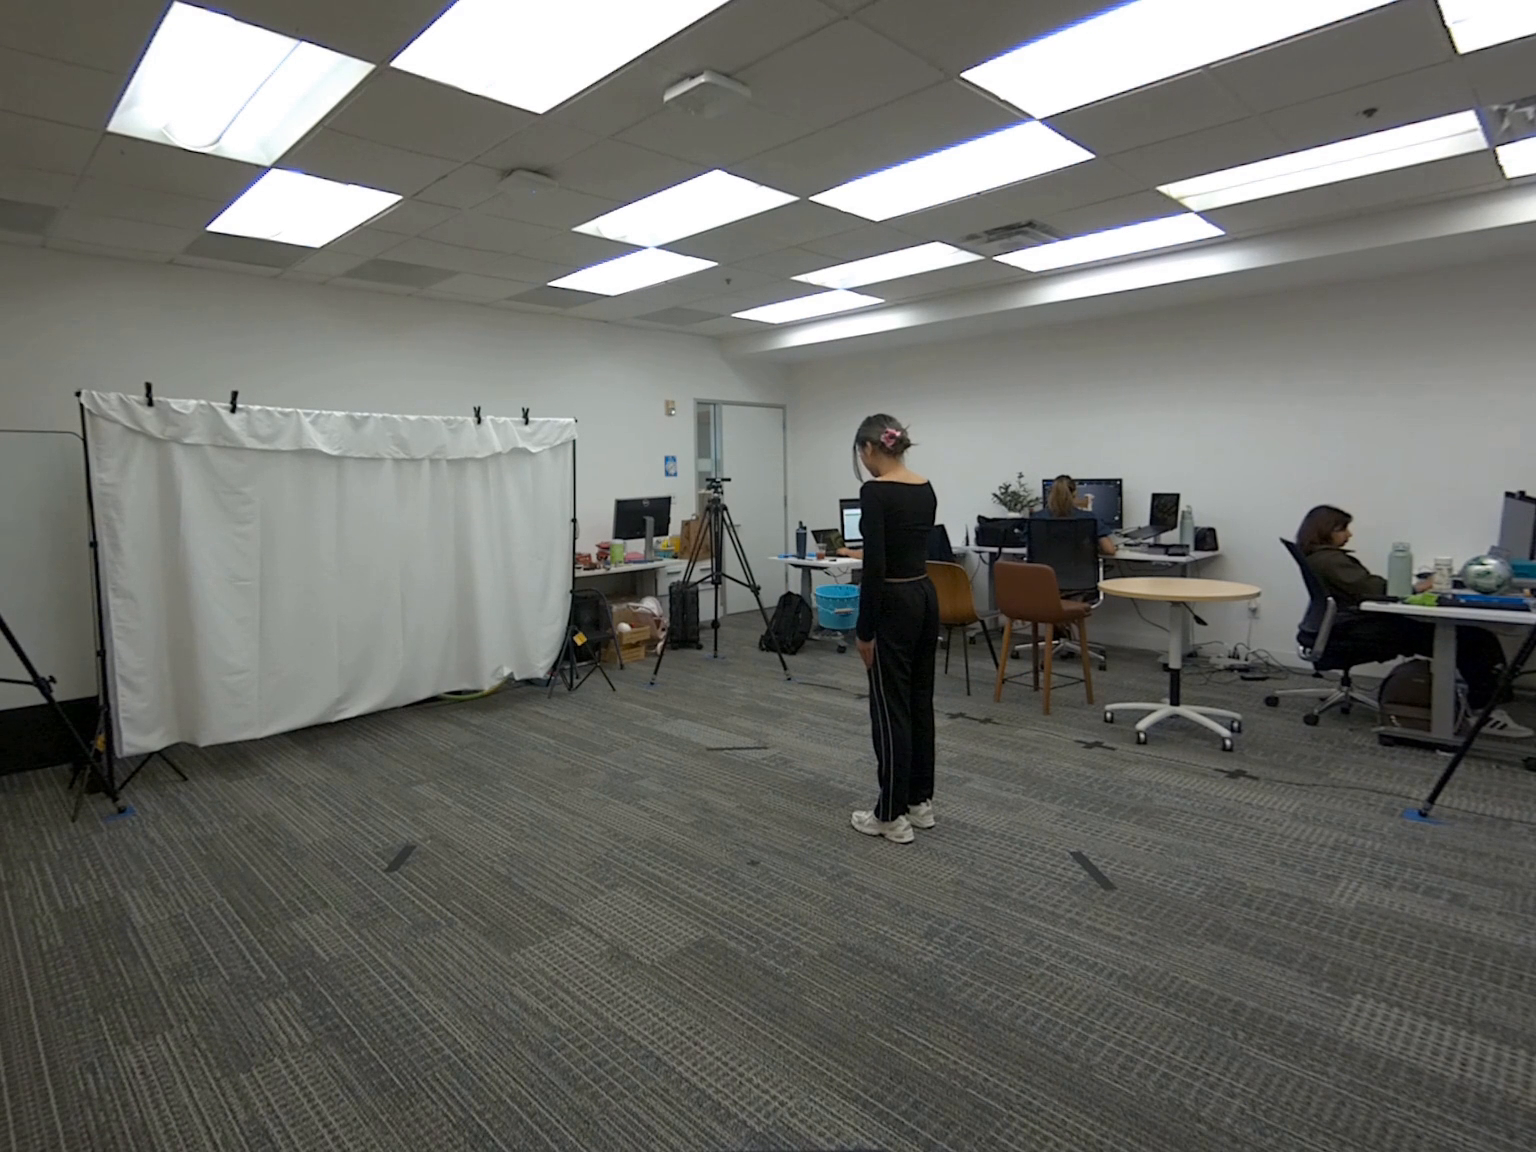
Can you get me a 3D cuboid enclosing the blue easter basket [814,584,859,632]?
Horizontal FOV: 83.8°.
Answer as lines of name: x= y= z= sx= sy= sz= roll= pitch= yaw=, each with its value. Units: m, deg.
blue easter basket: x=0.328 y=0.148 z=3.845 sx=0.243 sy=0.154 sz=0.246 roll=-3 pitch=11 yaw=-1
